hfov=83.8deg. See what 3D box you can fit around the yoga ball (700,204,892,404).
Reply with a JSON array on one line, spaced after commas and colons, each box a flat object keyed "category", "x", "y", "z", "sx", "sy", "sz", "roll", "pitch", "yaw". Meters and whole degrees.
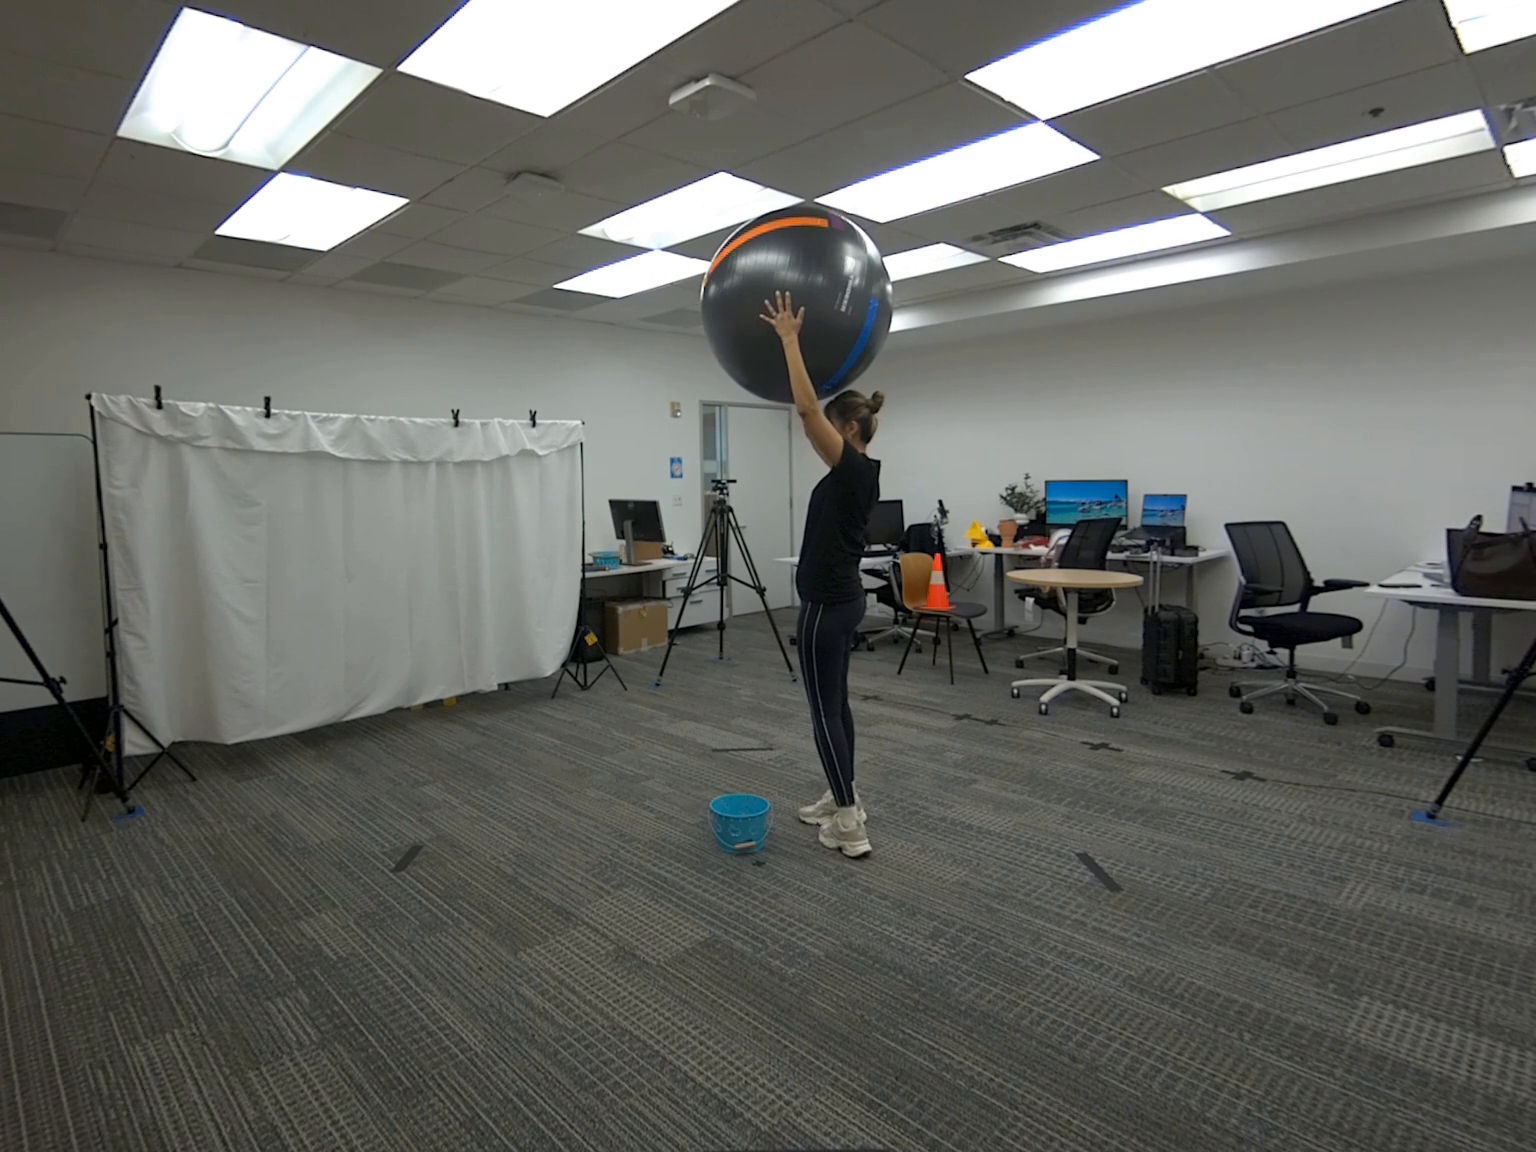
[{"category": "yoga ball", "x": 0.117, "y": -1.061, "z": 3.402, "sx": 0.757, "sy": 0.755, "sz": 0.762, "roll": -1, "pitch": 5, "yaw": -2}]
